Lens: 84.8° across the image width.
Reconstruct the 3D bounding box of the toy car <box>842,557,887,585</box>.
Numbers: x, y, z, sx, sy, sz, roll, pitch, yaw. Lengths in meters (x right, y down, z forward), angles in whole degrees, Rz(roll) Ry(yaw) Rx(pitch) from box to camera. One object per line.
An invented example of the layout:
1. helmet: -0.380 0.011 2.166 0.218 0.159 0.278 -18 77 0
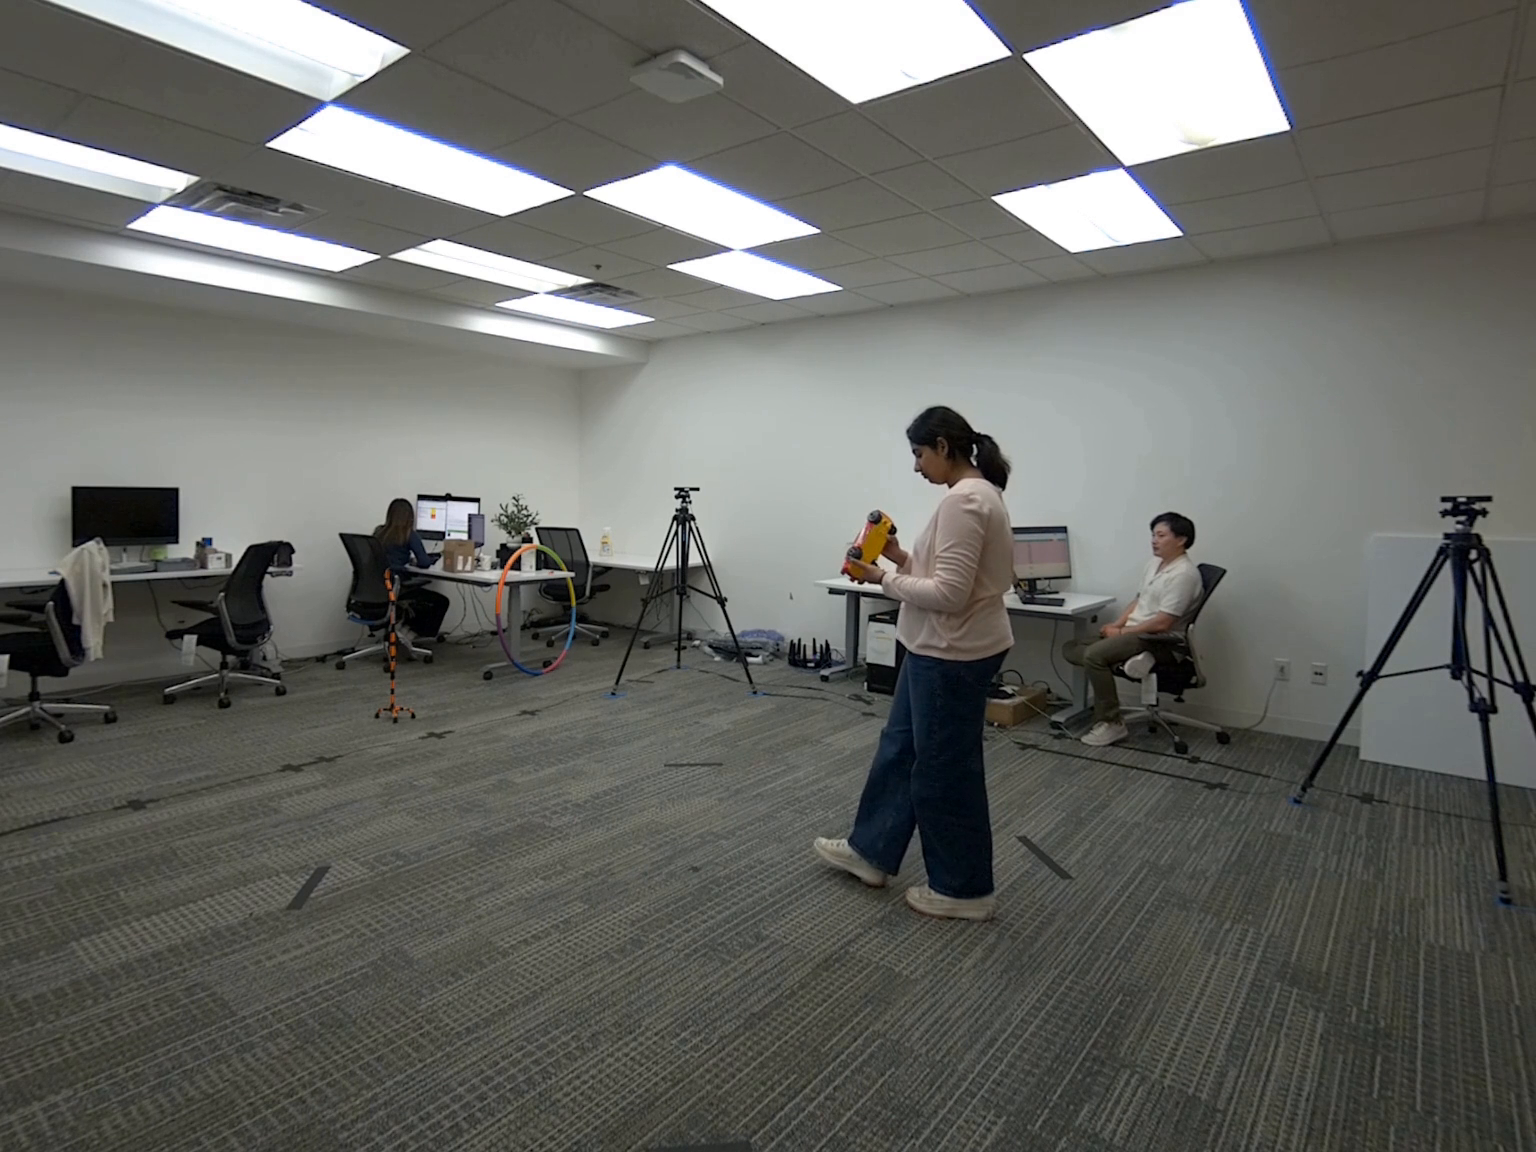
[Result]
1. toy car: 0.339 -0.101 2.892 0.125 0.254 0.086 35 -2 -36
